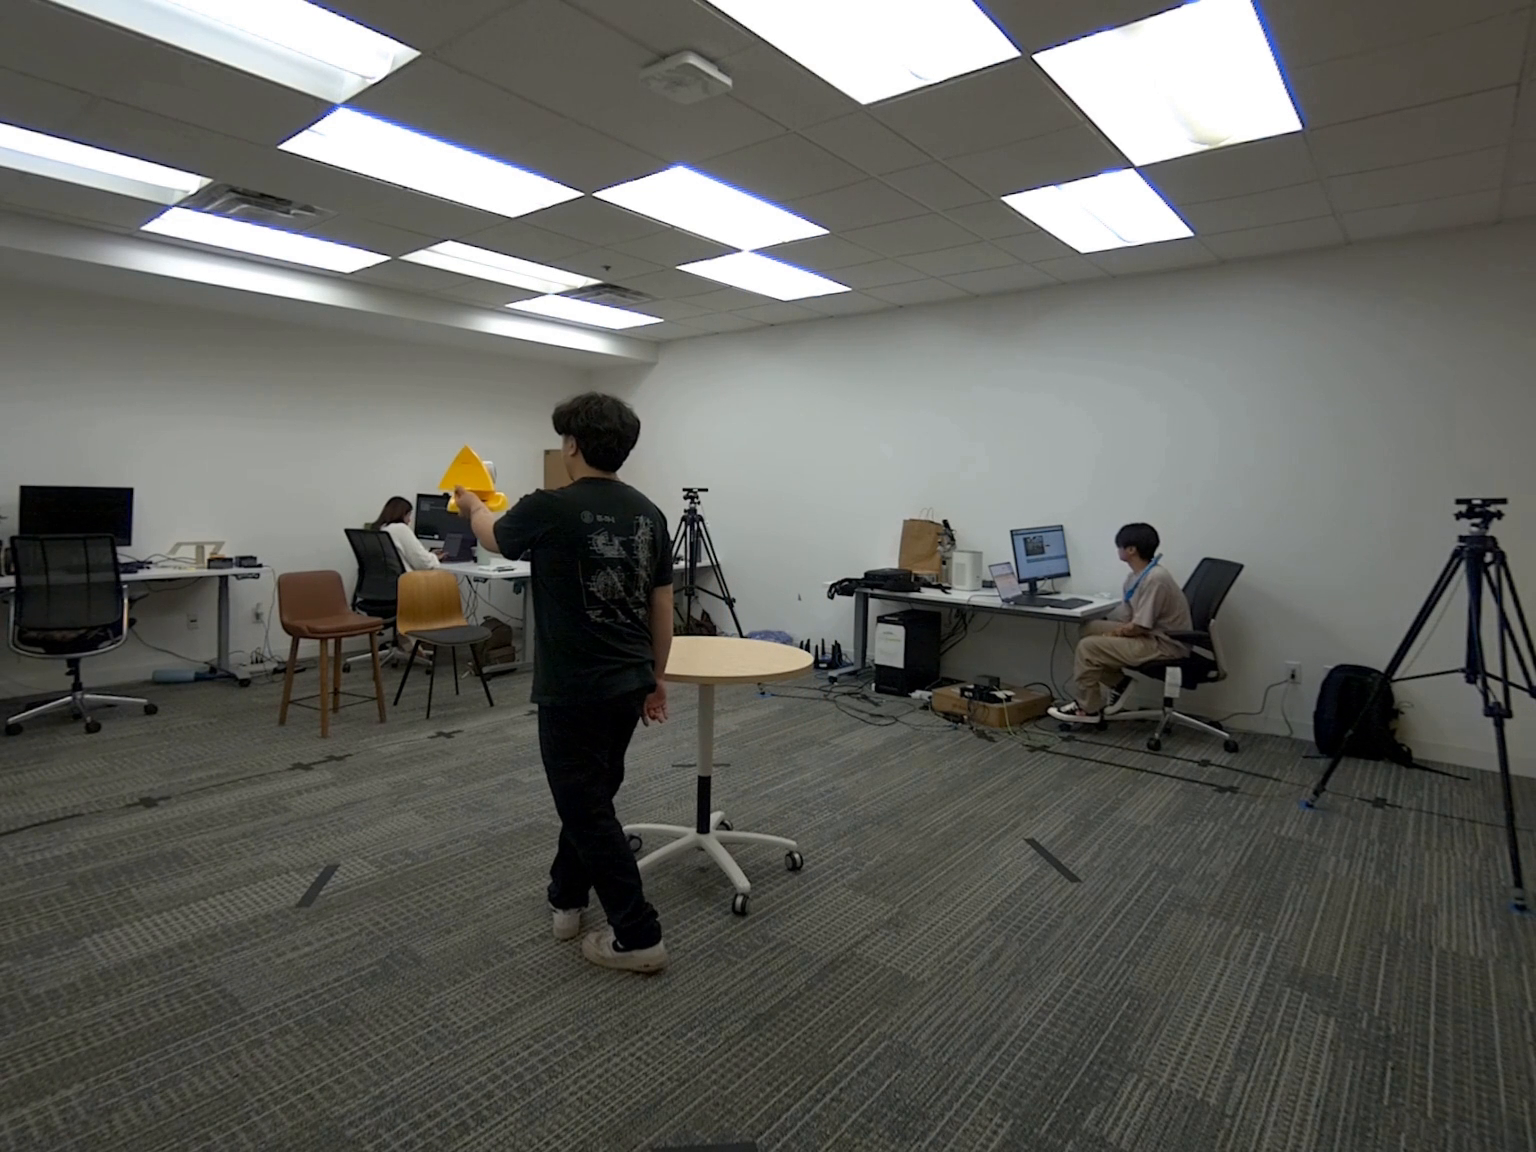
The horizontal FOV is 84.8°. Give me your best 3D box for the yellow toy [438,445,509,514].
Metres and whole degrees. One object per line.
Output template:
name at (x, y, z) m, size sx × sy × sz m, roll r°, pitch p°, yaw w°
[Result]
yellow toy at (-1.018, -0.346, 2.930) m, size 0.207 × 0.228 × 0.193 m, roll 1°, pitch 12°, yaw 9°
